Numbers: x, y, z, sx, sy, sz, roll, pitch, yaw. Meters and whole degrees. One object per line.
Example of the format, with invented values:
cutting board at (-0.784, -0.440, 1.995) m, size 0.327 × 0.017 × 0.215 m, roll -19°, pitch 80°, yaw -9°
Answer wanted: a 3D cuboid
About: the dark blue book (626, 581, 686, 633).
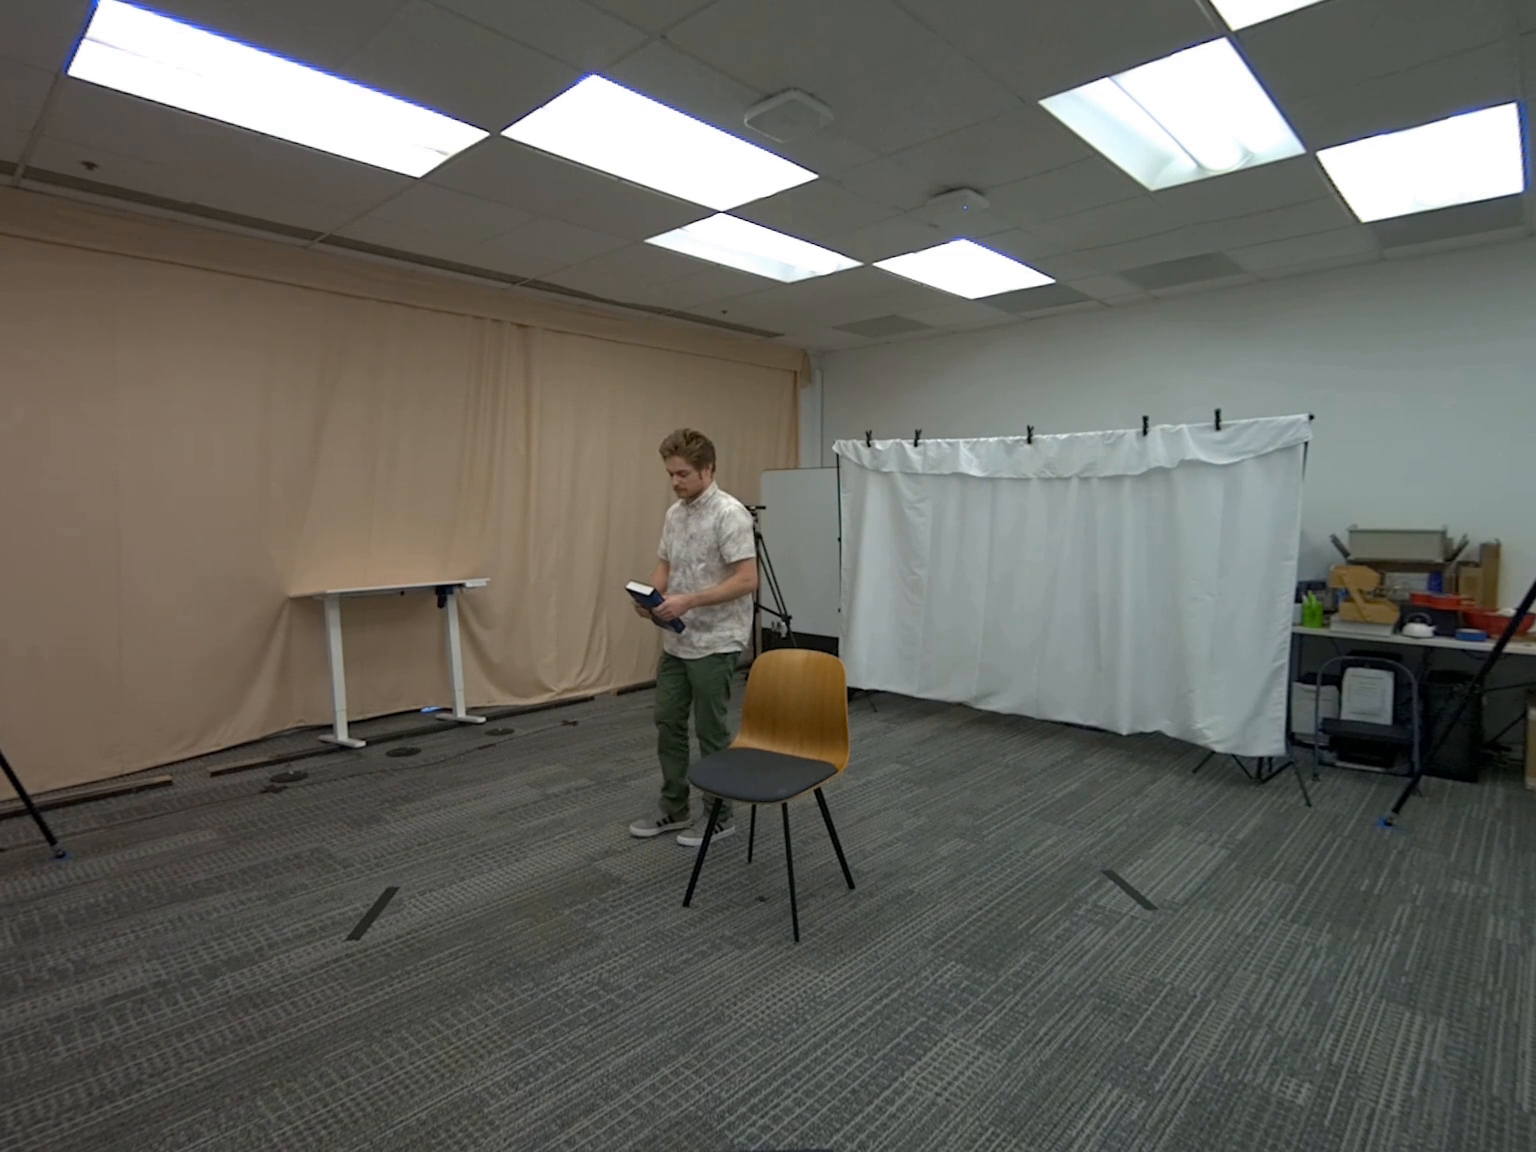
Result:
dark blue book at (-0.445, 0.121, 3.344) m, size 0.169 × 0.045 × 0.237 m, roll 16°, pitch -30°, yaw 46°
